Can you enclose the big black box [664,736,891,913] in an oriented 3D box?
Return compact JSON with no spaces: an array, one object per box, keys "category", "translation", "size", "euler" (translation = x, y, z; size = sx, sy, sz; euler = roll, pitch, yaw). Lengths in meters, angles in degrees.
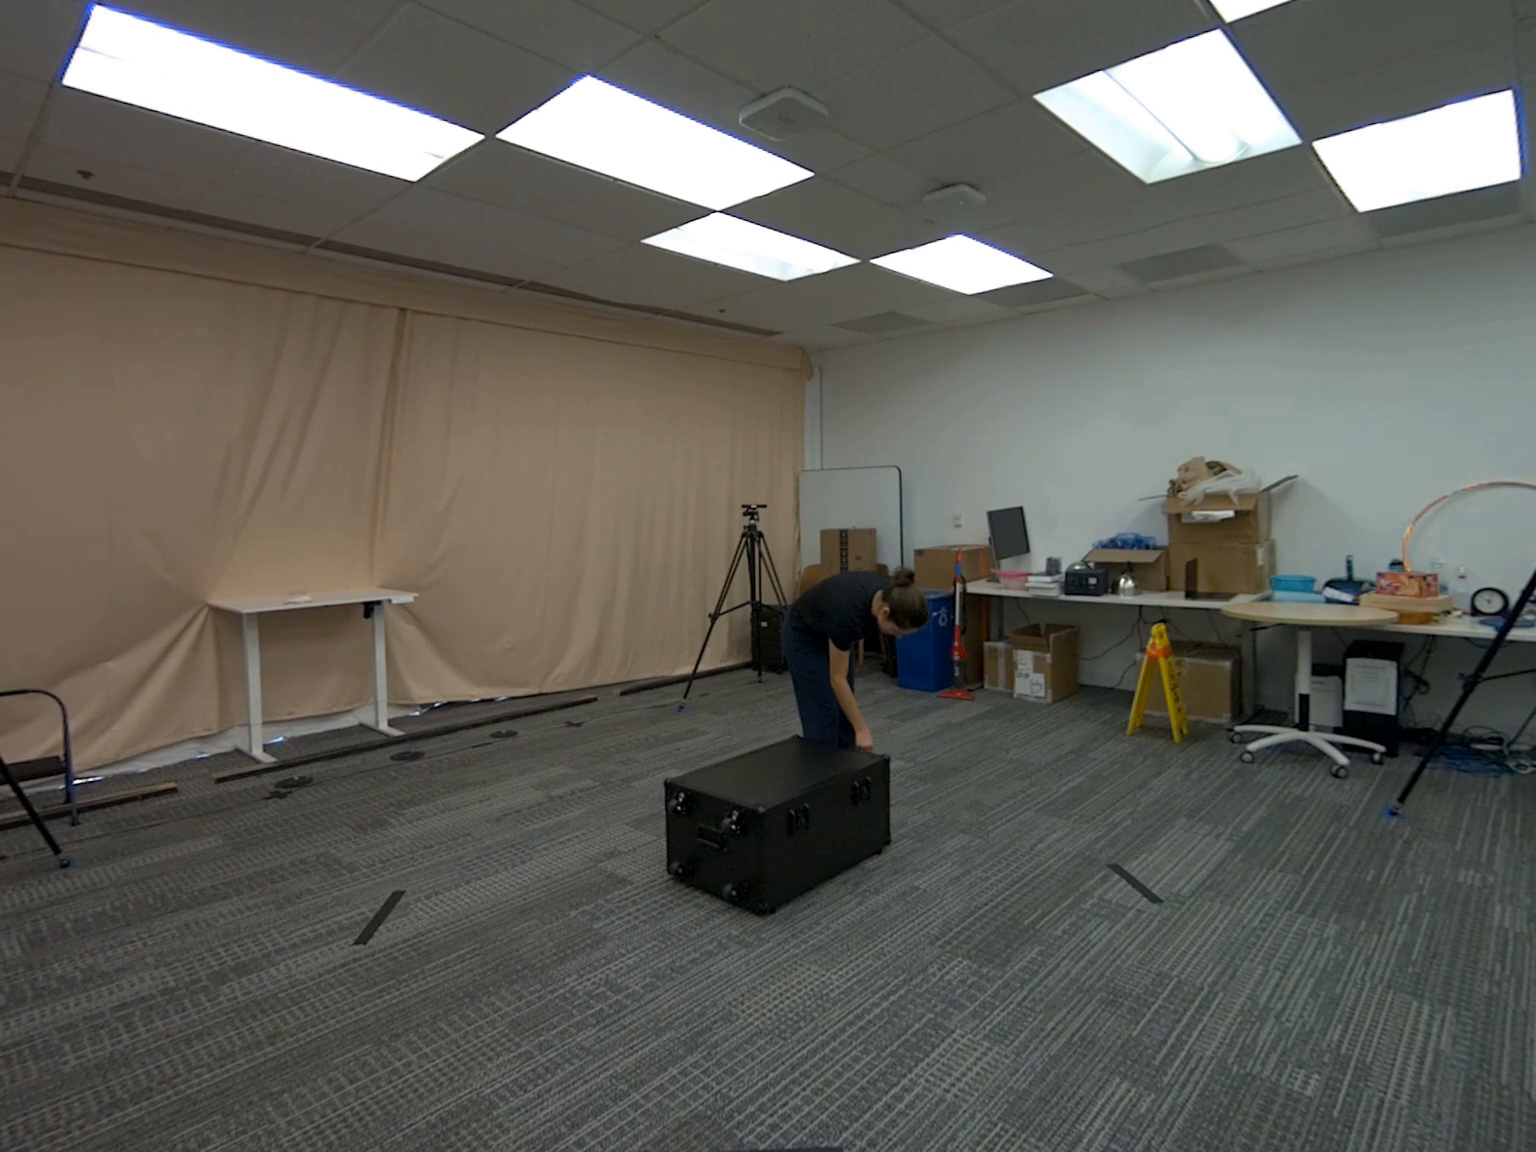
[{"category":"big black box","translation":[0.044,0.911,3.221],"size":[0.538,0.395,0.836],"euler":[3,6,42]}]
